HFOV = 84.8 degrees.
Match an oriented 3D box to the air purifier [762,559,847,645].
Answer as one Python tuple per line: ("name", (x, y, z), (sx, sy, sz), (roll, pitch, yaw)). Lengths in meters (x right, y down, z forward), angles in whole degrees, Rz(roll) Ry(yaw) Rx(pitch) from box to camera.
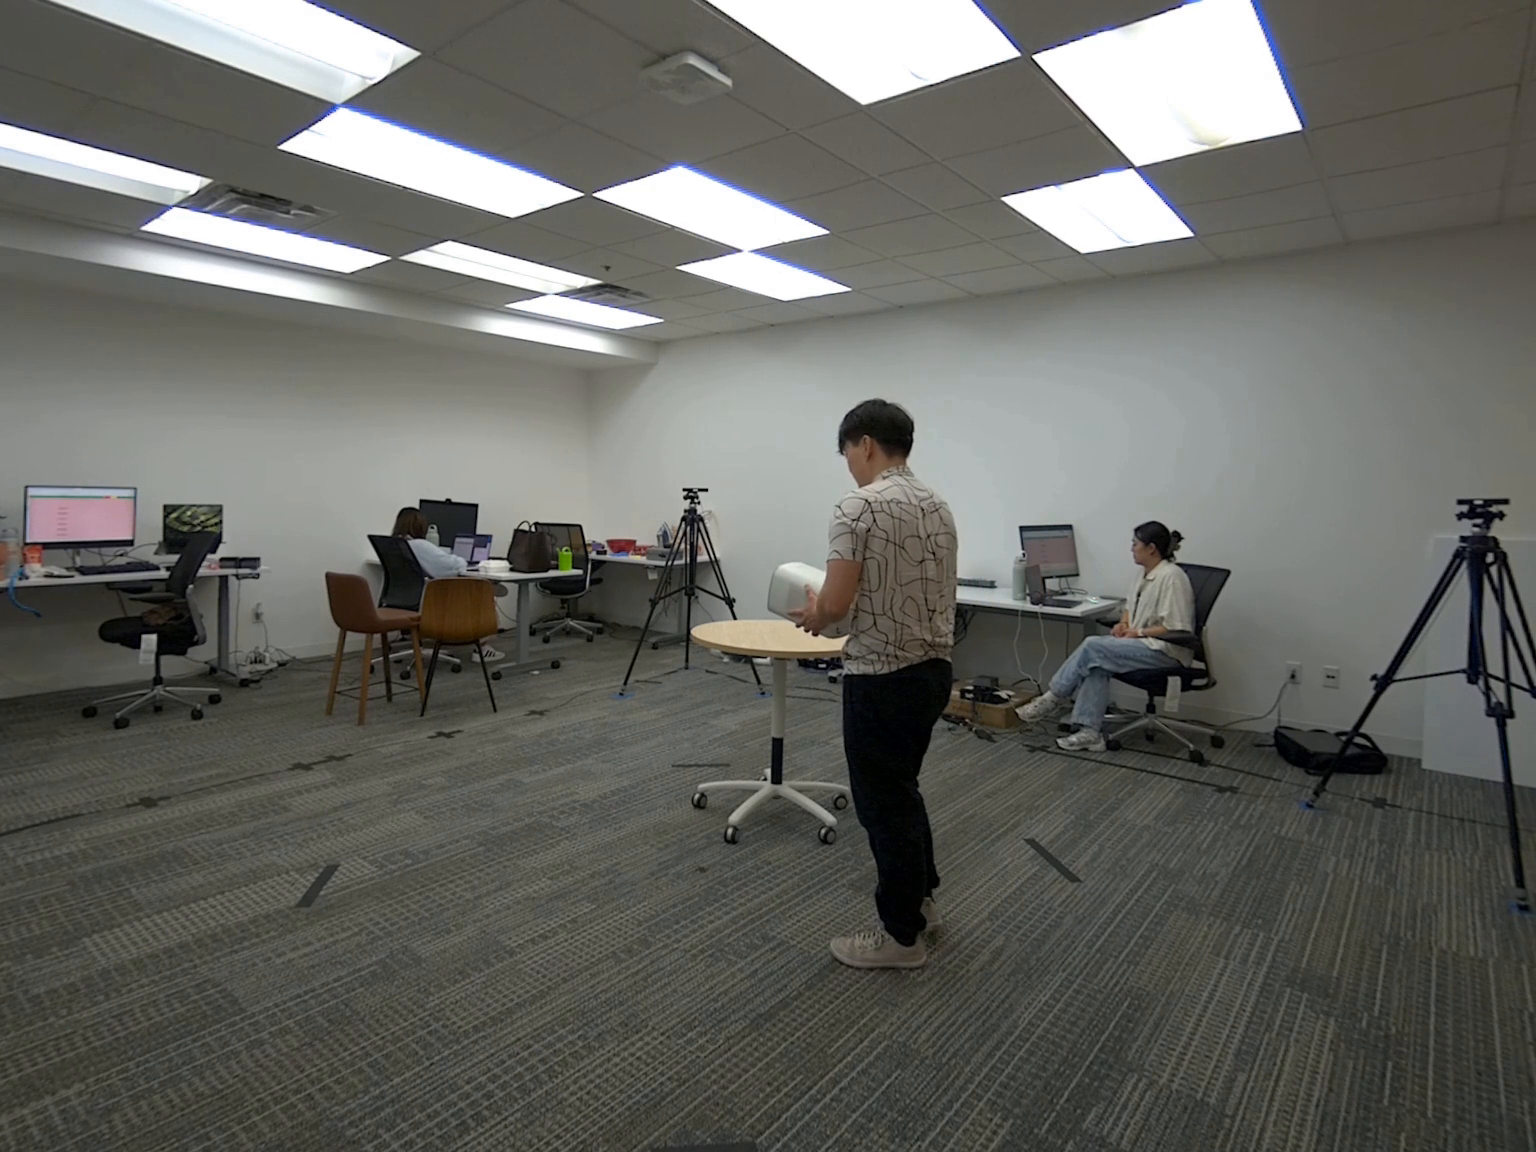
("air purifier", (0.150, 0.077, 2.729), (0.276, 0.169, 0.166), (24, 20, 38))
